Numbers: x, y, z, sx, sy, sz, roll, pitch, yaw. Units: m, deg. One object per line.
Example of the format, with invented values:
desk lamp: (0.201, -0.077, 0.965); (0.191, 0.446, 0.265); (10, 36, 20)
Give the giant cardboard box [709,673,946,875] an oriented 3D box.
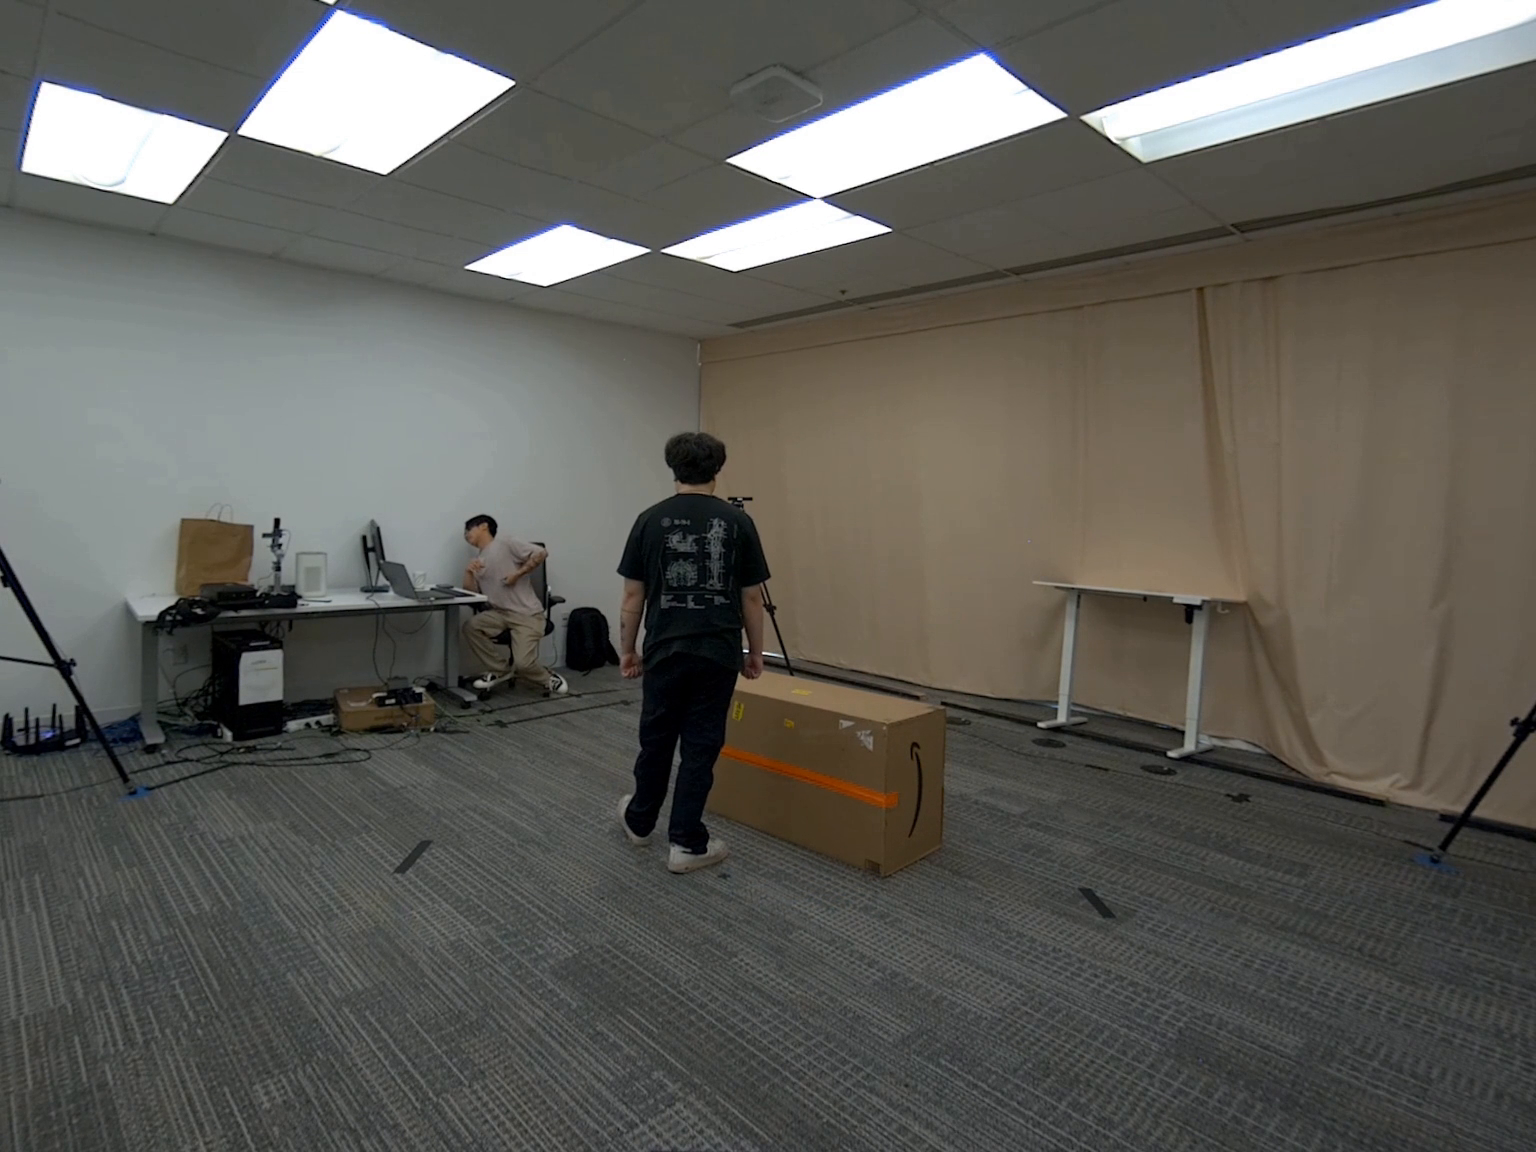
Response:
giant cardboard box: (0.185, 0.786, 3.605); (1.053, 0.582, 0.437); (5, 5, 42)
